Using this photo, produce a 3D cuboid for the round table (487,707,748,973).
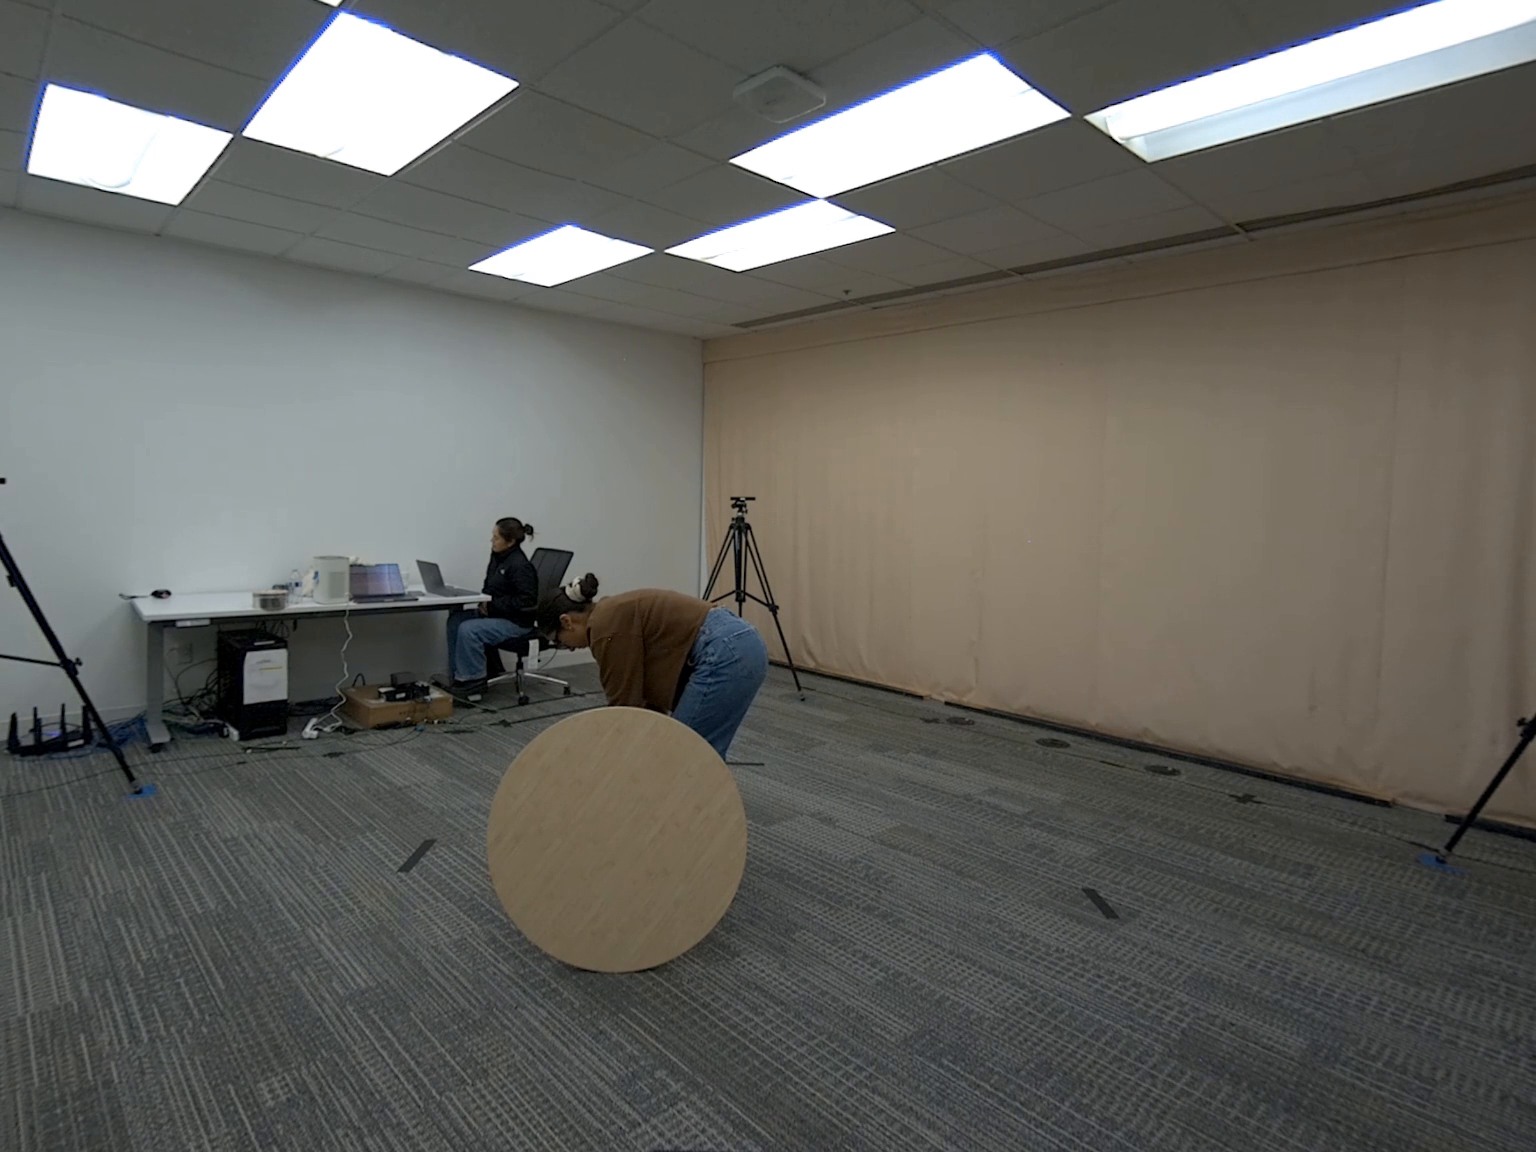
[{"bbox_3d":[-0.487,0.780,2.863,0.762,0.765,0.794,1,-2,-3],"label":"round table"}]
